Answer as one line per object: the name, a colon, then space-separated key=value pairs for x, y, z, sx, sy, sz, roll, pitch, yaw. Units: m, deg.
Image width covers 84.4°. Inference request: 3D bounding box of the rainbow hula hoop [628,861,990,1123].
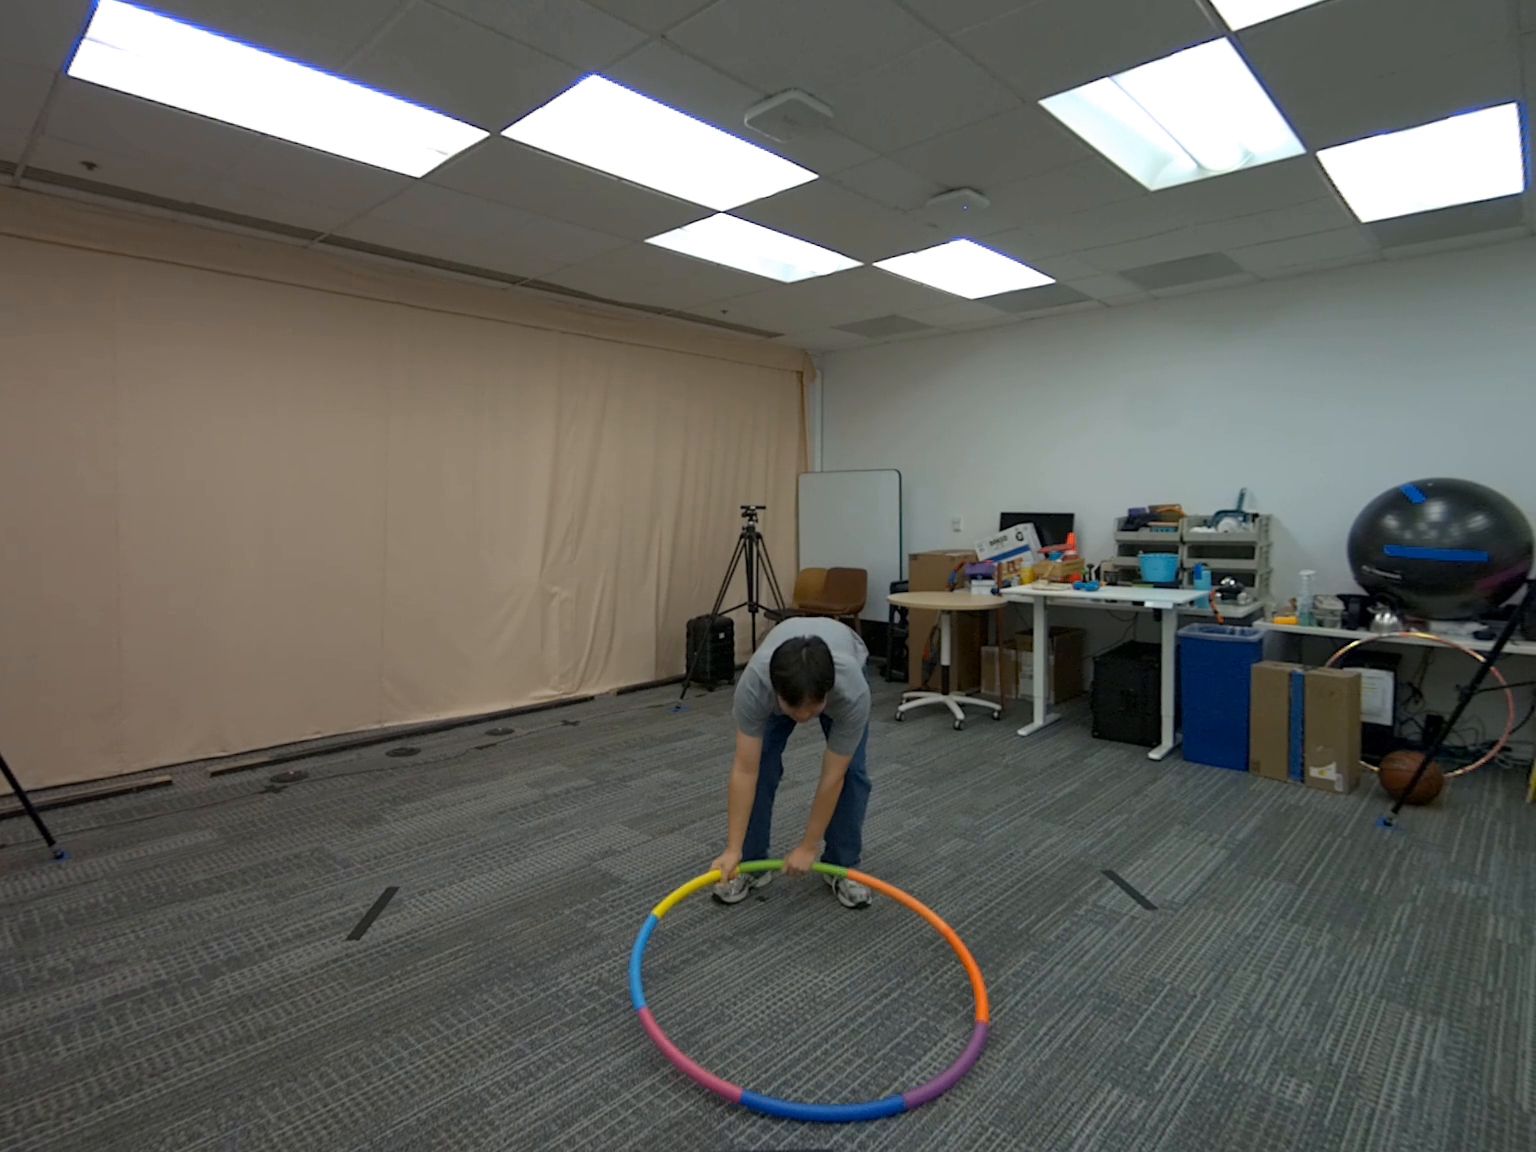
rainbow hula hoop: x=0.131 y=1.081 z=2.373 sx=0.977 sy=0.035 sz=0.988 roll=1 pitch=15 yaw=-2
